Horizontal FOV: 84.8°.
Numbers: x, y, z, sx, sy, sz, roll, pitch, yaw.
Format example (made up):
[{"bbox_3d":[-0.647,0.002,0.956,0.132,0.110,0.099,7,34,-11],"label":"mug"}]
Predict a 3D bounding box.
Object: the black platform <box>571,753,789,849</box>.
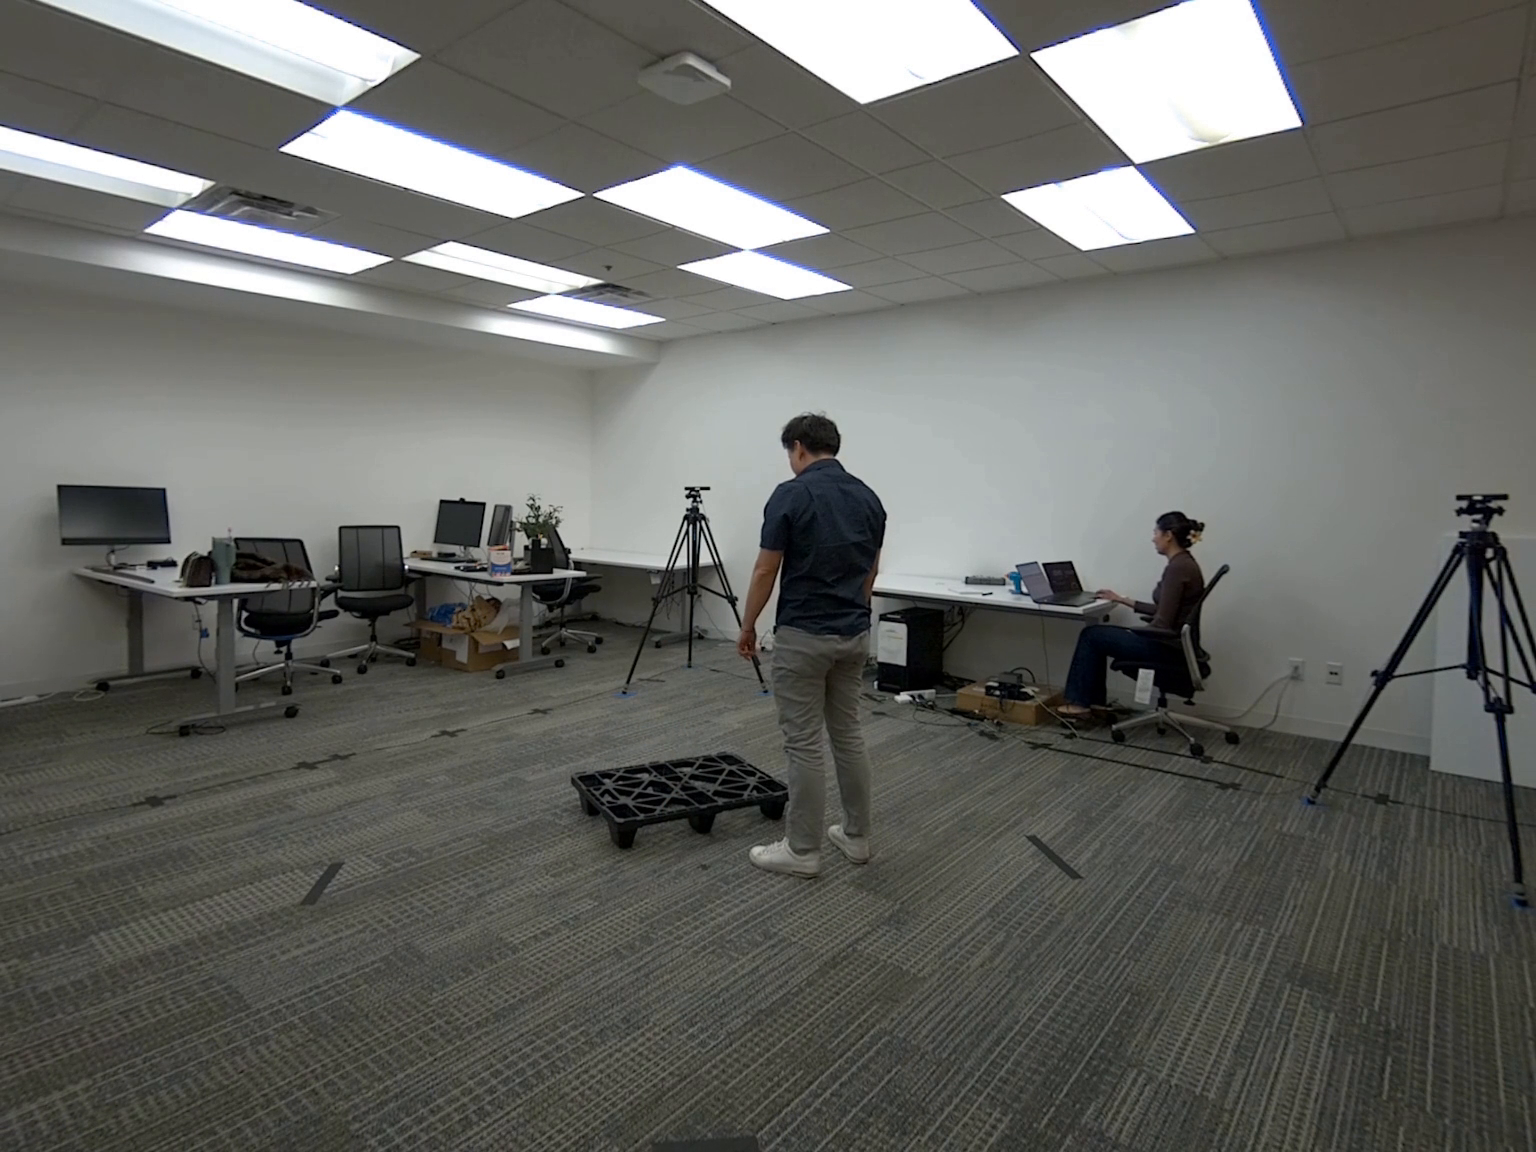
[{"bbox_3d":[-0.388,0.944,3.634,0.785,0.143,0.623,-2,6,-29],"label":"black platform"}]
